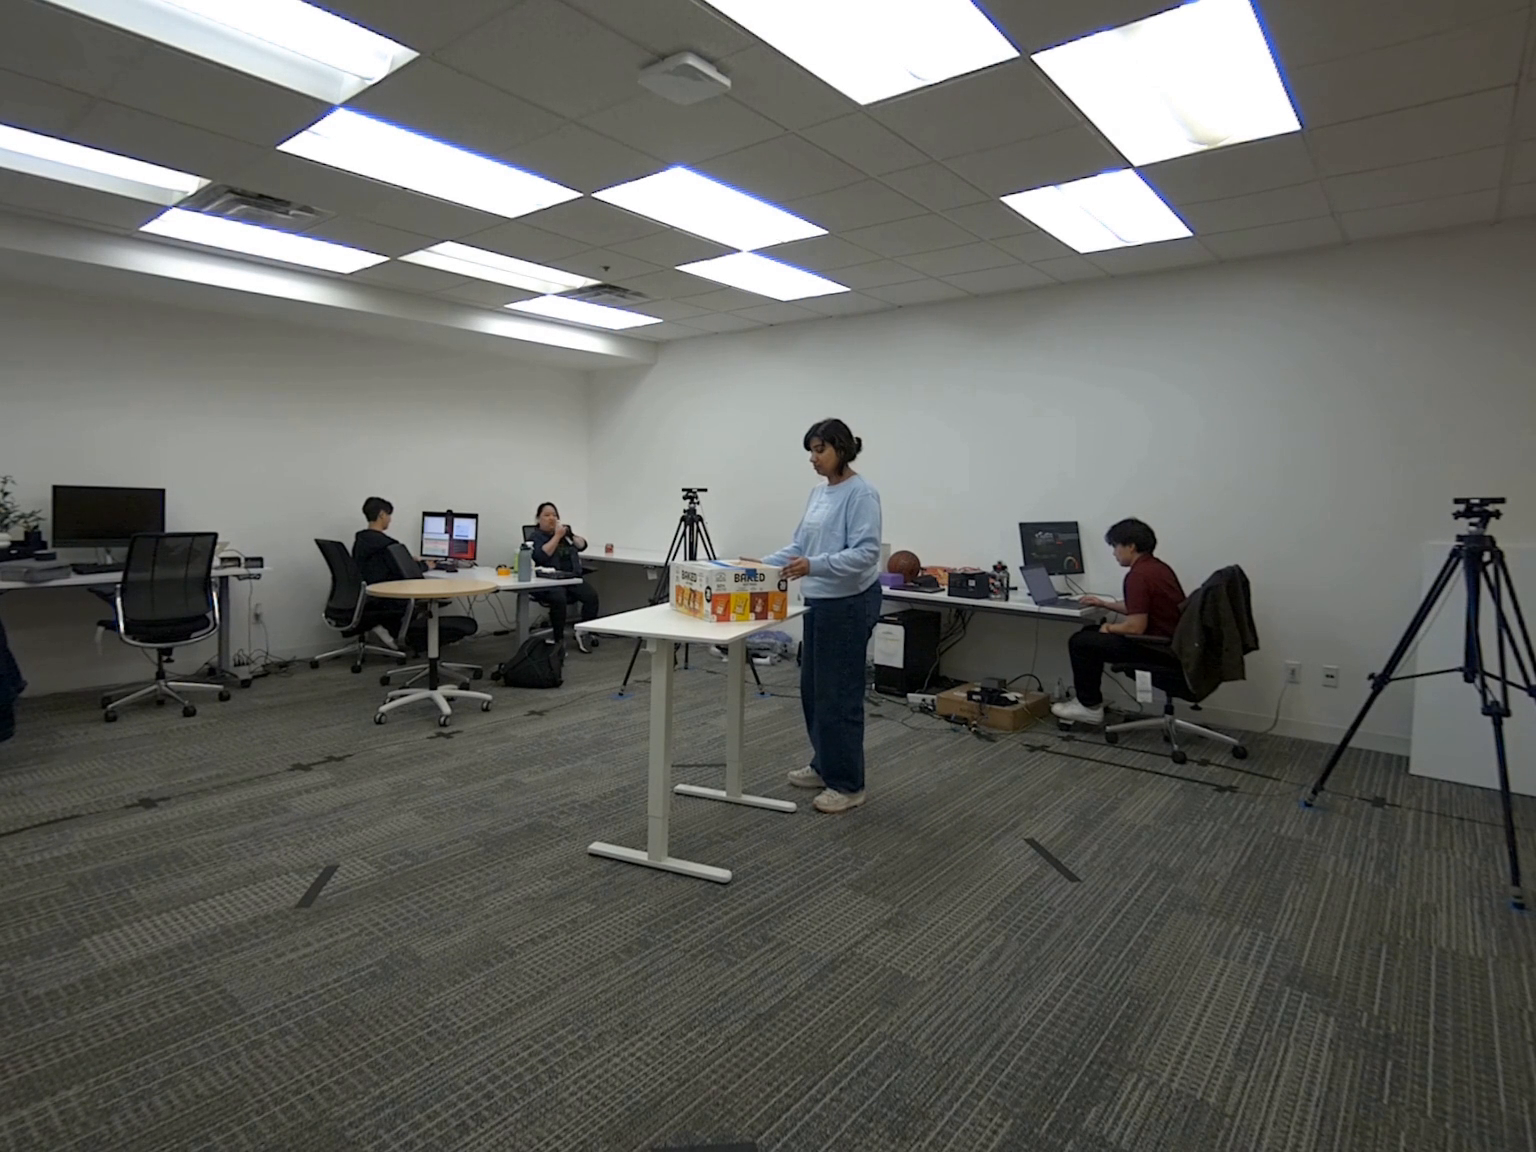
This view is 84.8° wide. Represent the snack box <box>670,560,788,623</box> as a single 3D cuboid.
[{"bbox_3d":[-0.180,0.050,3.484,0.332,0.205,0.417,-1,5,-28],"label":"snack box"}]
